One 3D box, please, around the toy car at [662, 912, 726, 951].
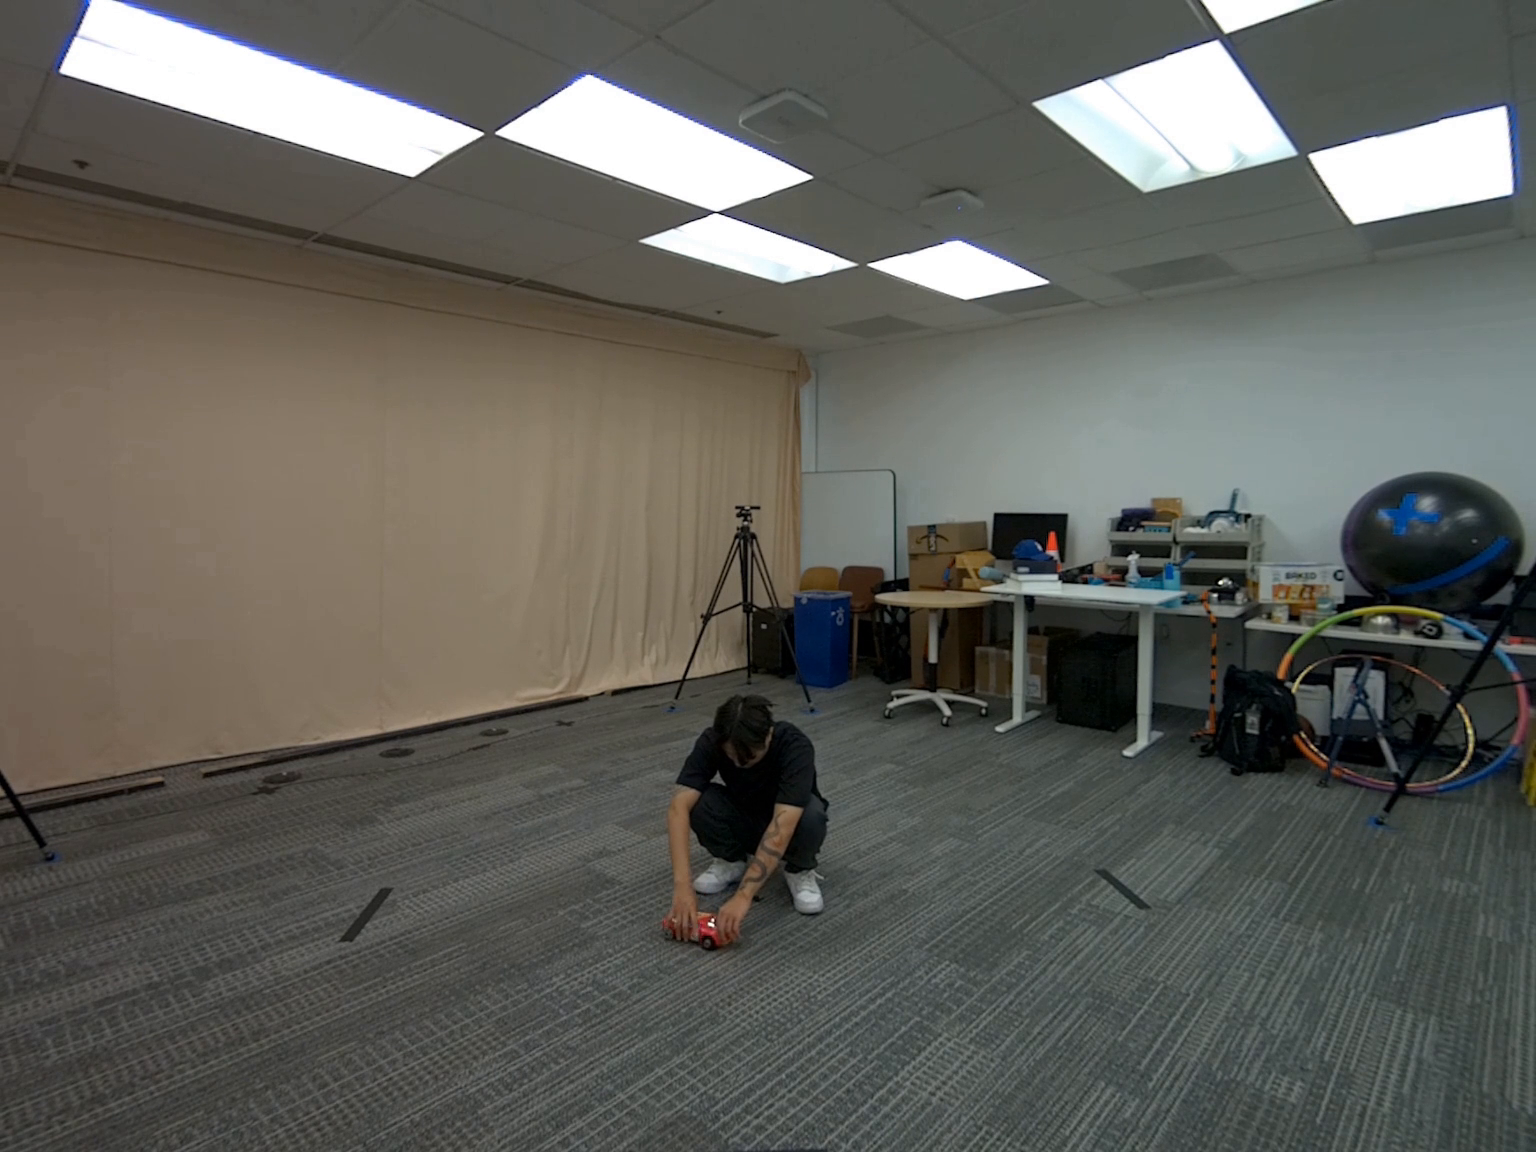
[{"bbox_3d":[-0.210,1.137,2.708,0.260,0.083,0.127,-10,0,26],"label":"toy car"}]
